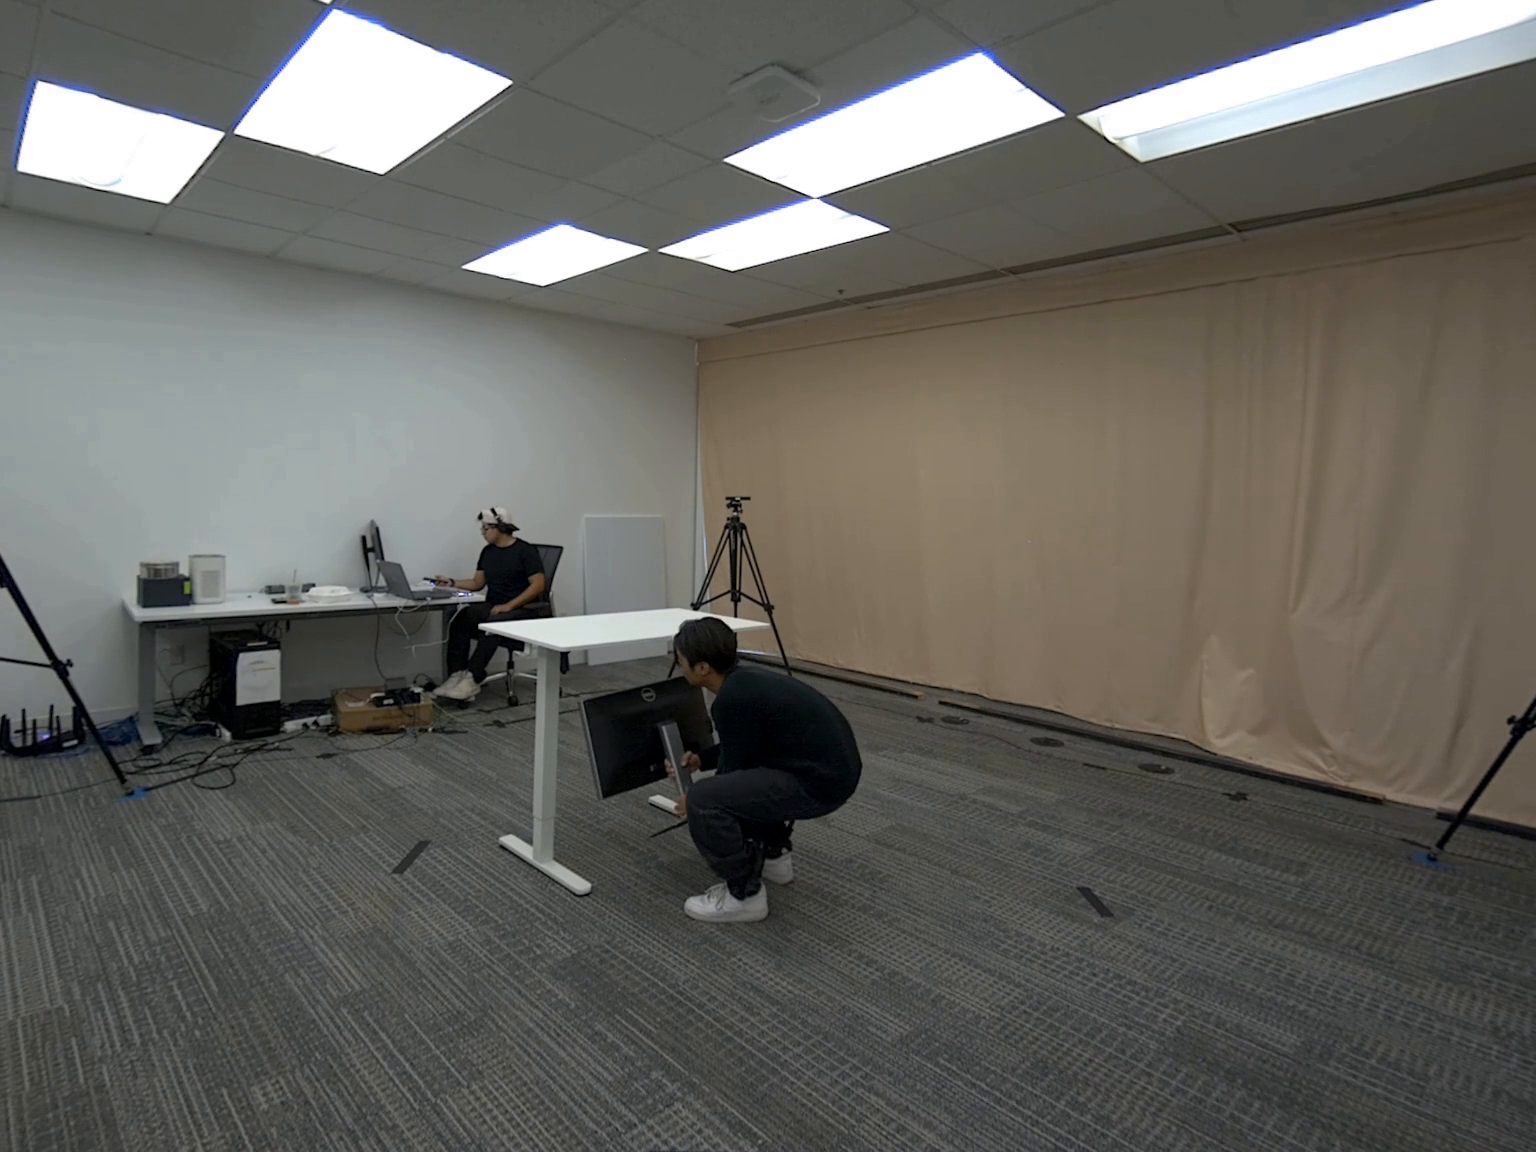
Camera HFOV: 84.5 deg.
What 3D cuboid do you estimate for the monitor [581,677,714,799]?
[{"bbox_3d":[-0.395,0.660,3.182,0.520,0.524,0.175,-10,-21,-40],"label":"monitor"}]
